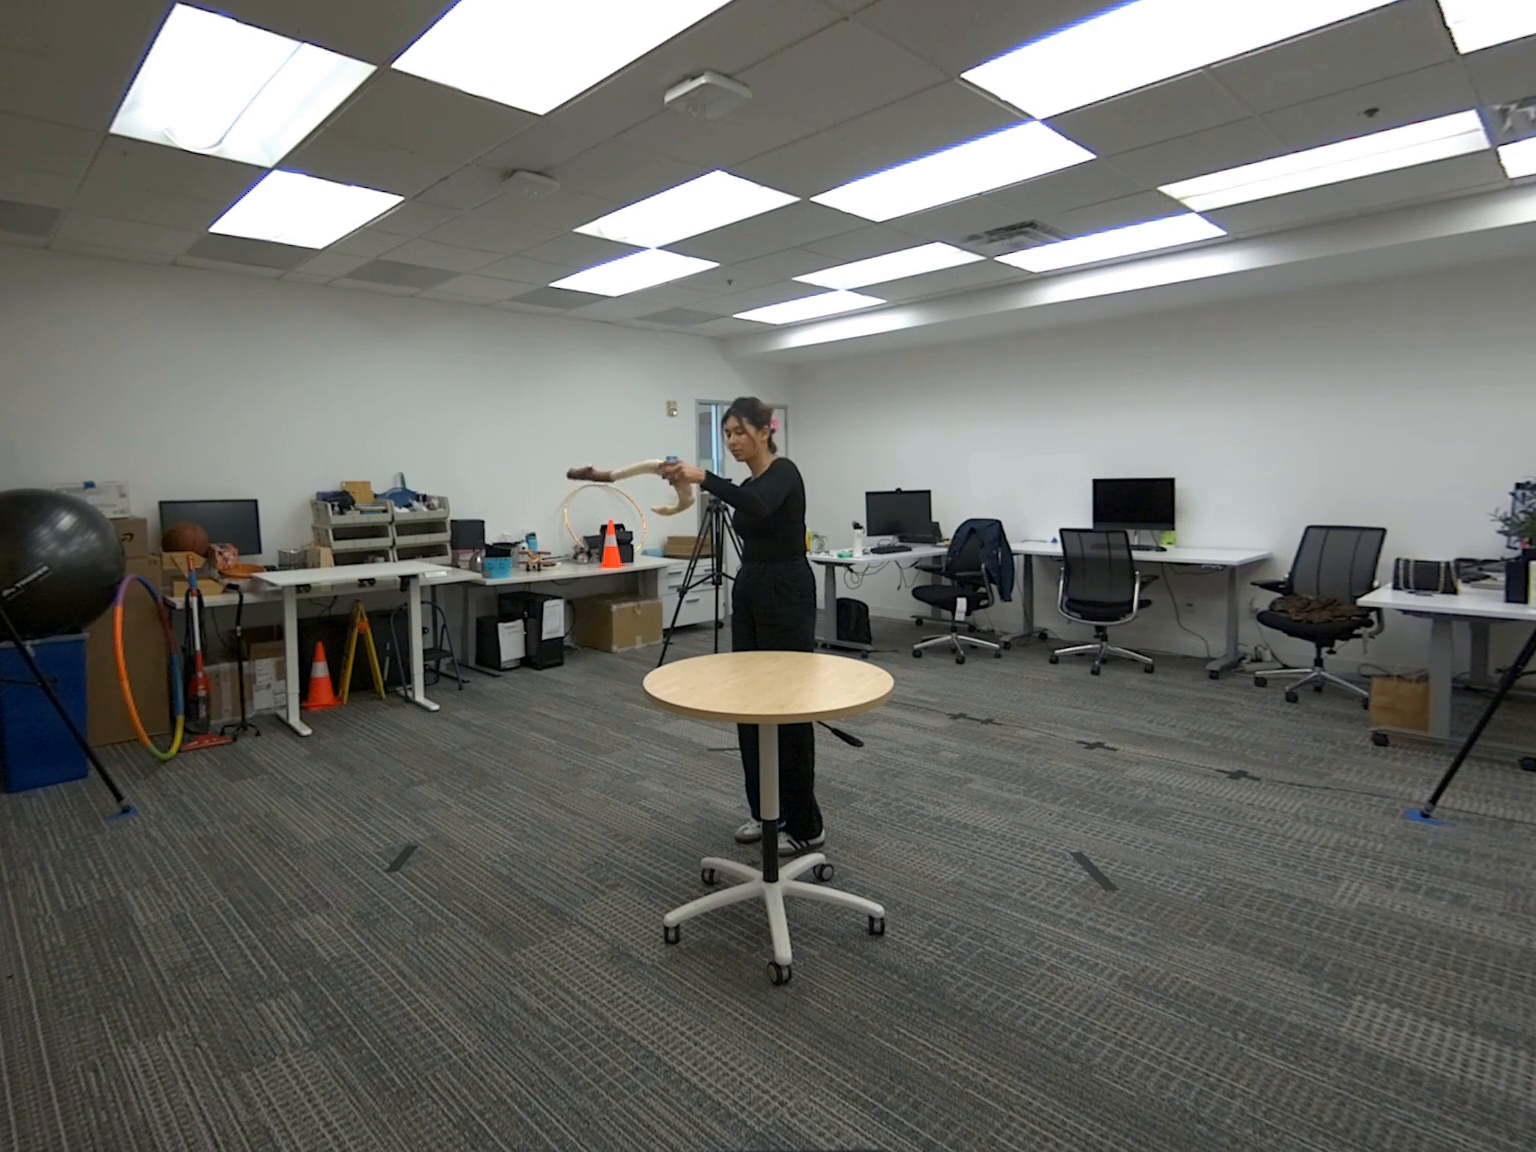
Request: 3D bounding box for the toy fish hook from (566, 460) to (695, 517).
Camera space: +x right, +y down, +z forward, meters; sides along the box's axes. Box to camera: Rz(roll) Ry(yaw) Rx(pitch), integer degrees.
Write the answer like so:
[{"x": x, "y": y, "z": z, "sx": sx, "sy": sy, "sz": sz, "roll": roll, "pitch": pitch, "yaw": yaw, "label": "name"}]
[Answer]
[{"x": -0.470, "y": -0.295, "z": 2.956, "sx": 0.520, "sy": 0.219, "sz": 0.048, "roll": 4, "pitch": 28, "yaw": 29, "label": "toy fish hook"}]
